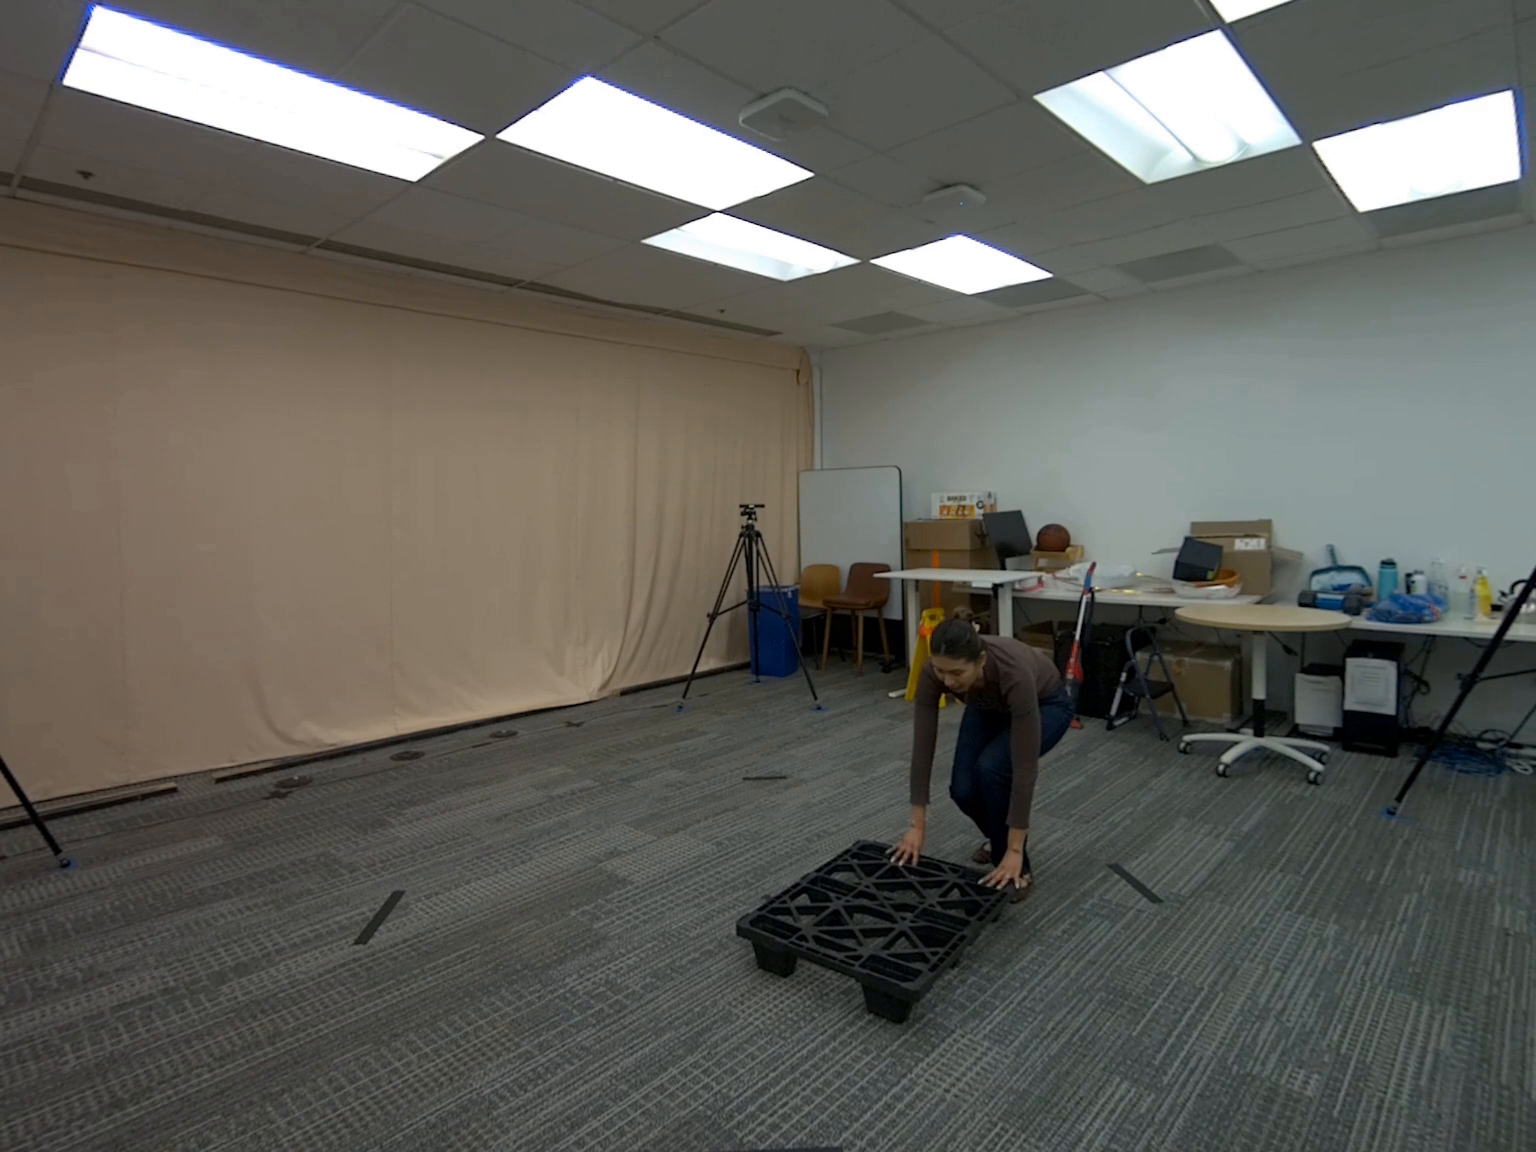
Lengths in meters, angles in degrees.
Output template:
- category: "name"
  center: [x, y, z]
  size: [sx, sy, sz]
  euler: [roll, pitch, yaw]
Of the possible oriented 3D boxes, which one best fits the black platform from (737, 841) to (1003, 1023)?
- category: "black platform"
  center: [0.375, 1.092, 2.665]
  size: [0.625, 0.143, 0.783]
  euler: [4, 7, 36]
